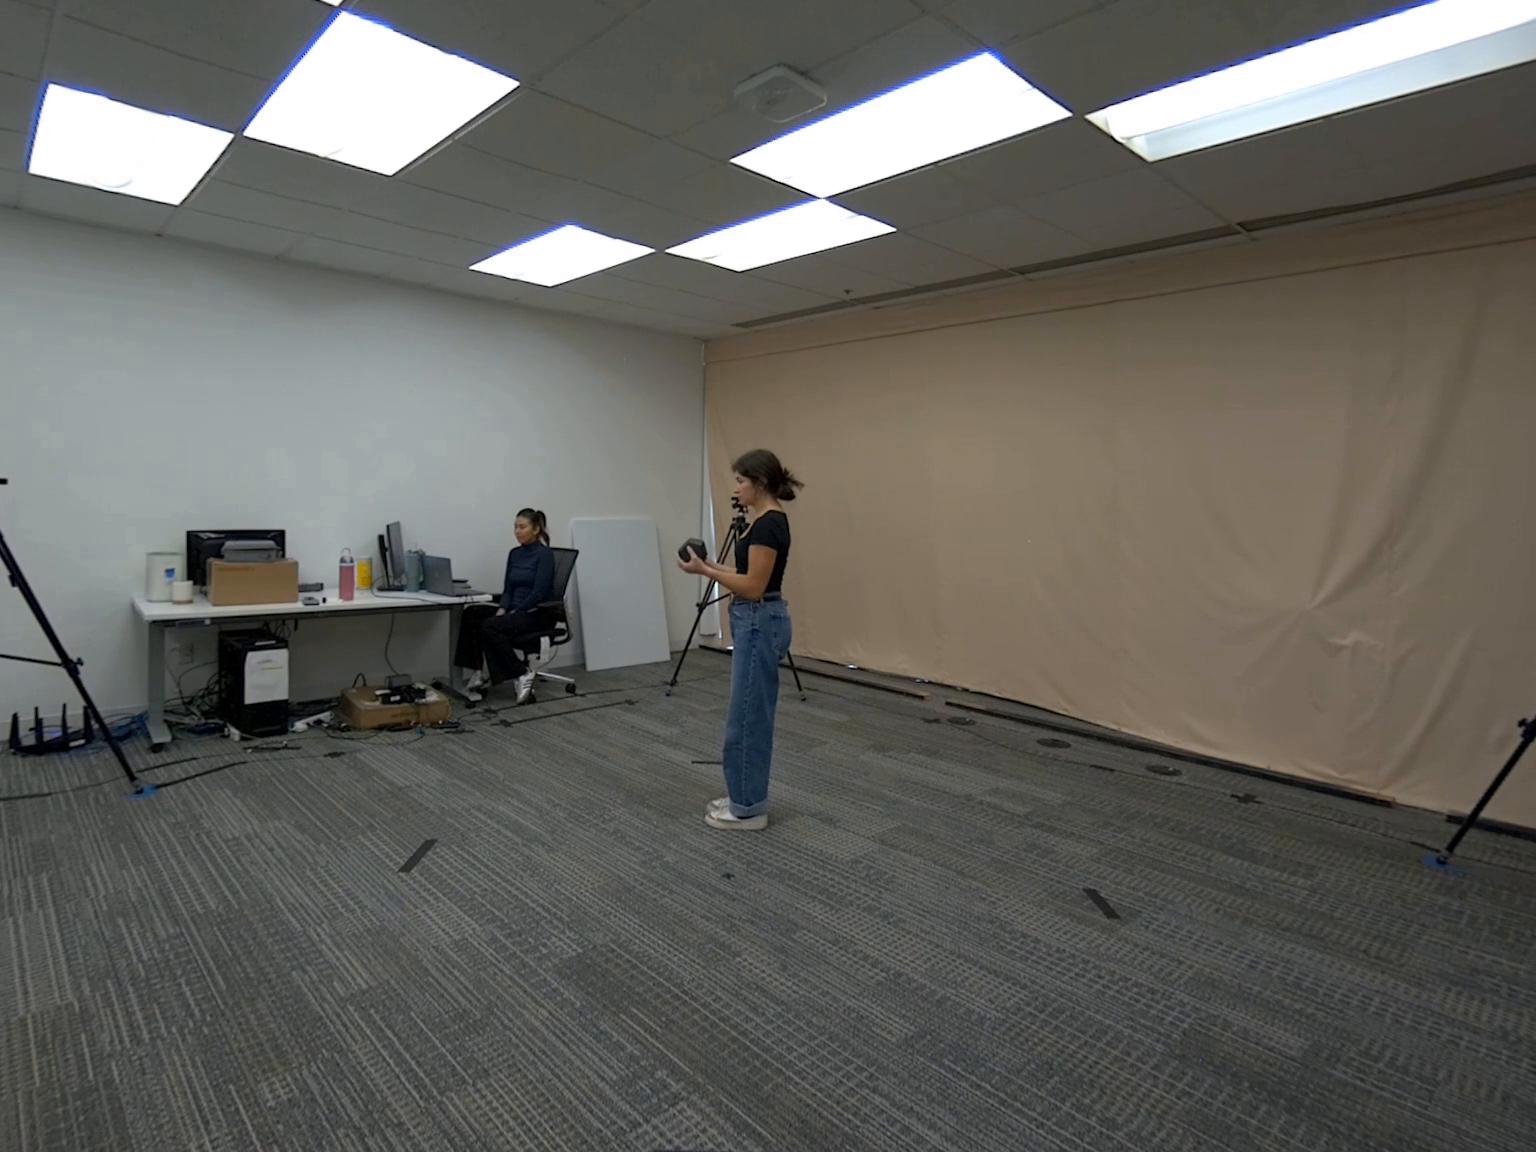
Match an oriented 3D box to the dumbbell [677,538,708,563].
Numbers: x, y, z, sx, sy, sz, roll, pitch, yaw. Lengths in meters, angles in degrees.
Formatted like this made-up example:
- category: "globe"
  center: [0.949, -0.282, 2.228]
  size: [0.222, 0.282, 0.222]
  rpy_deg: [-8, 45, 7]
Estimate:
- category: "dumbbell"
  center: [-0.316, -0.093, 3.590]
  size: [0.109, 0.123, 0.294]
  rpy_deg: [-21, 4, 2]
